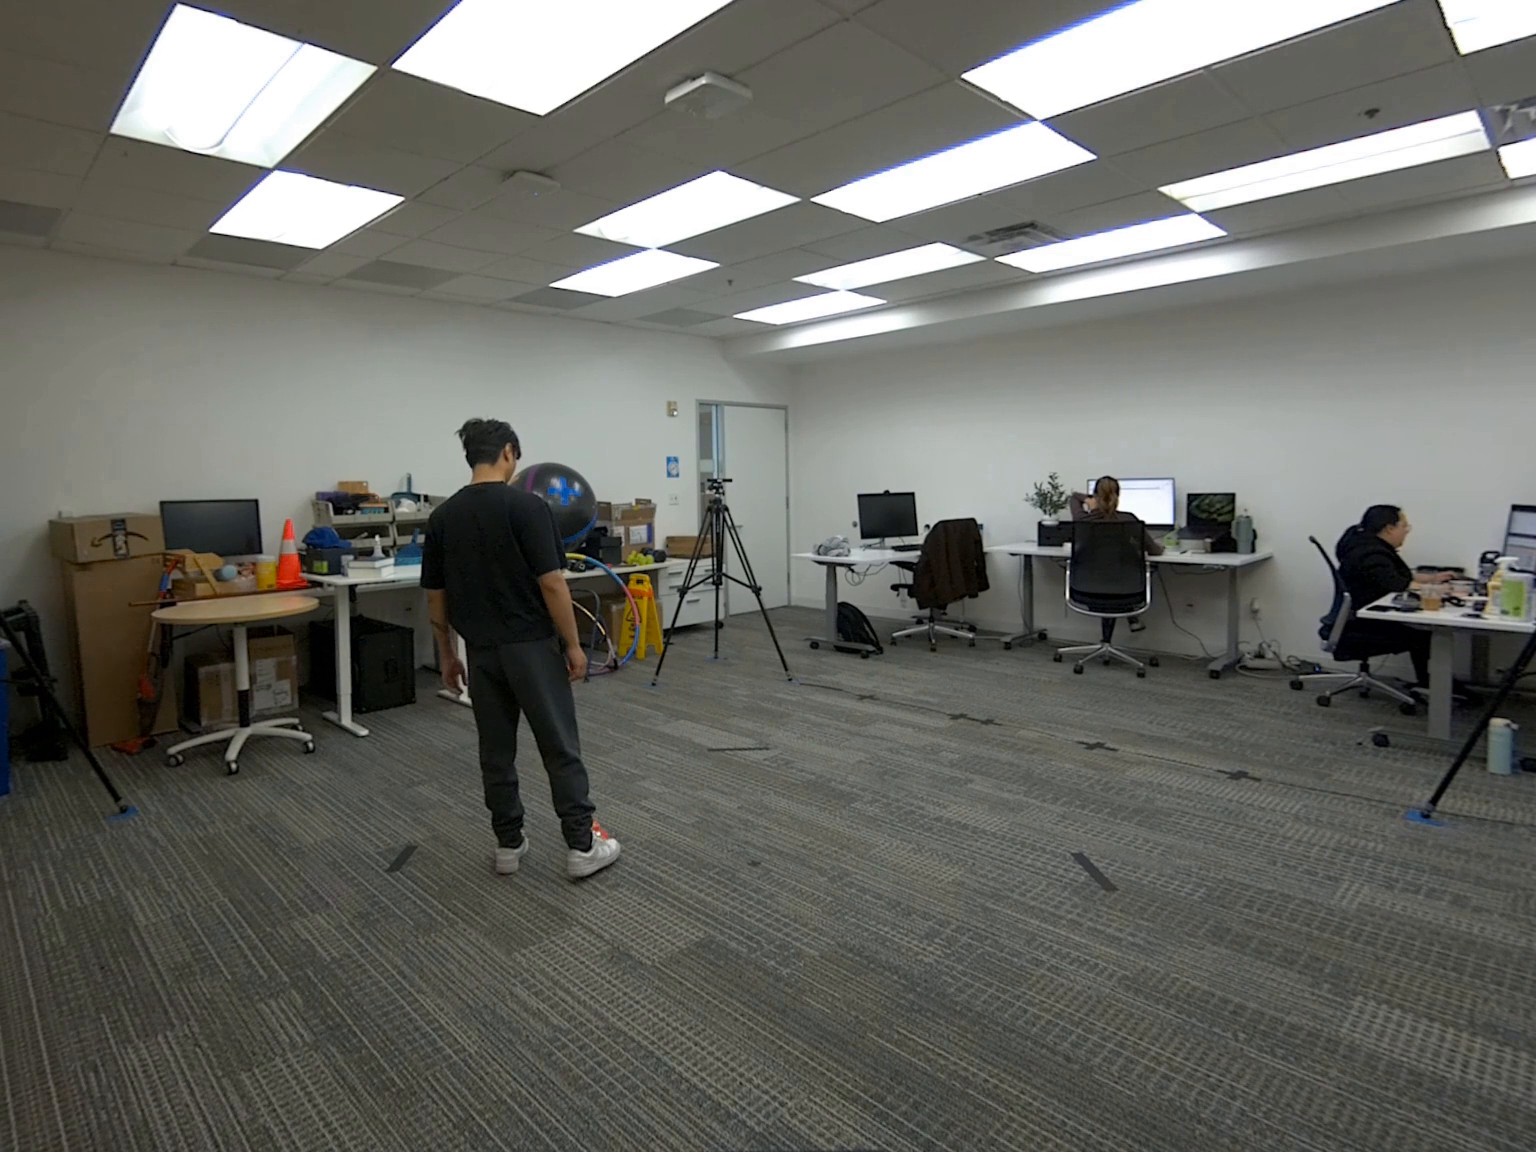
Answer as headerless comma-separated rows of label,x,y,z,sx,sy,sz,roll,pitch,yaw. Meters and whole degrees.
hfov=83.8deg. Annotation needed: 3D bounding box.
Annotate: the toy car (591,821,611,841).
toy car,-0.696,1.006,3.301,0.128,0.084,0.258,-3,-5,-25
